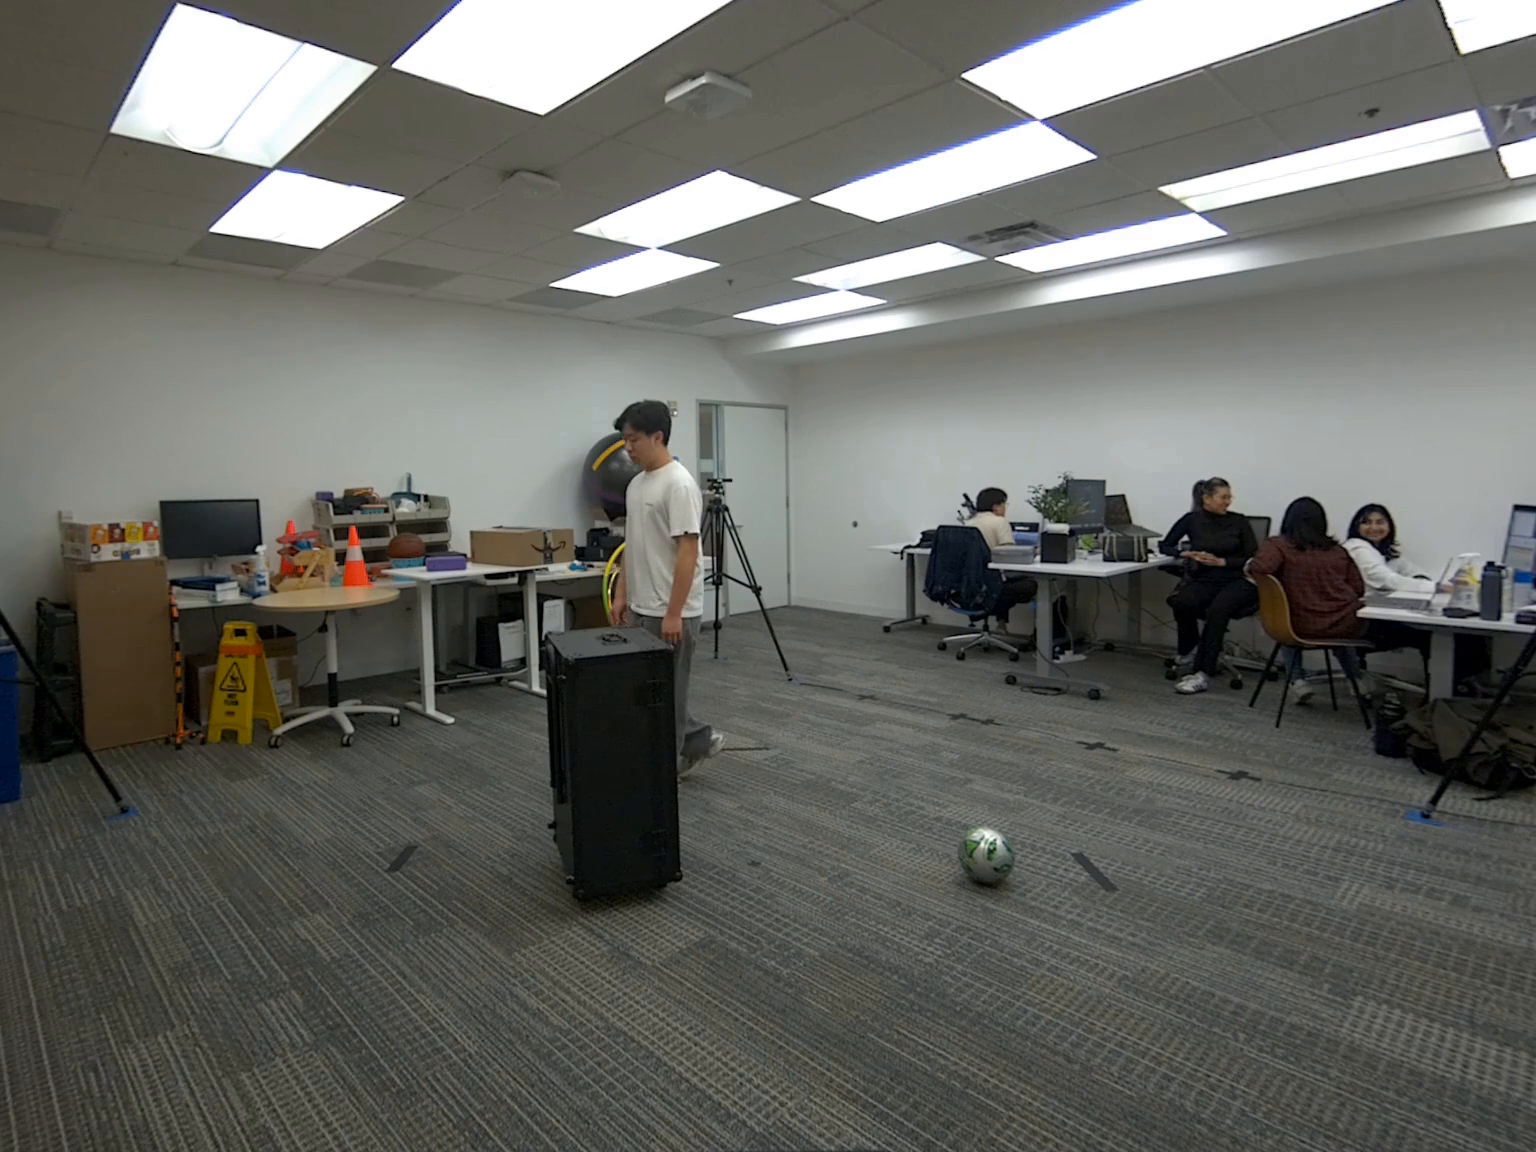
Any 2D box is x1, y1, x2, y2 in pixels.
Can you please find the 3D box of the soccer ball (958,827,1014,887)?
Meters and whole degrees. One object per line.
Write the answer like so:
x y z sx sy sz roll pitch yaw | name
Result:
0.747 0.952 2.934 0.187 0.187 0.188 -1 5 -2 | soccer ball
